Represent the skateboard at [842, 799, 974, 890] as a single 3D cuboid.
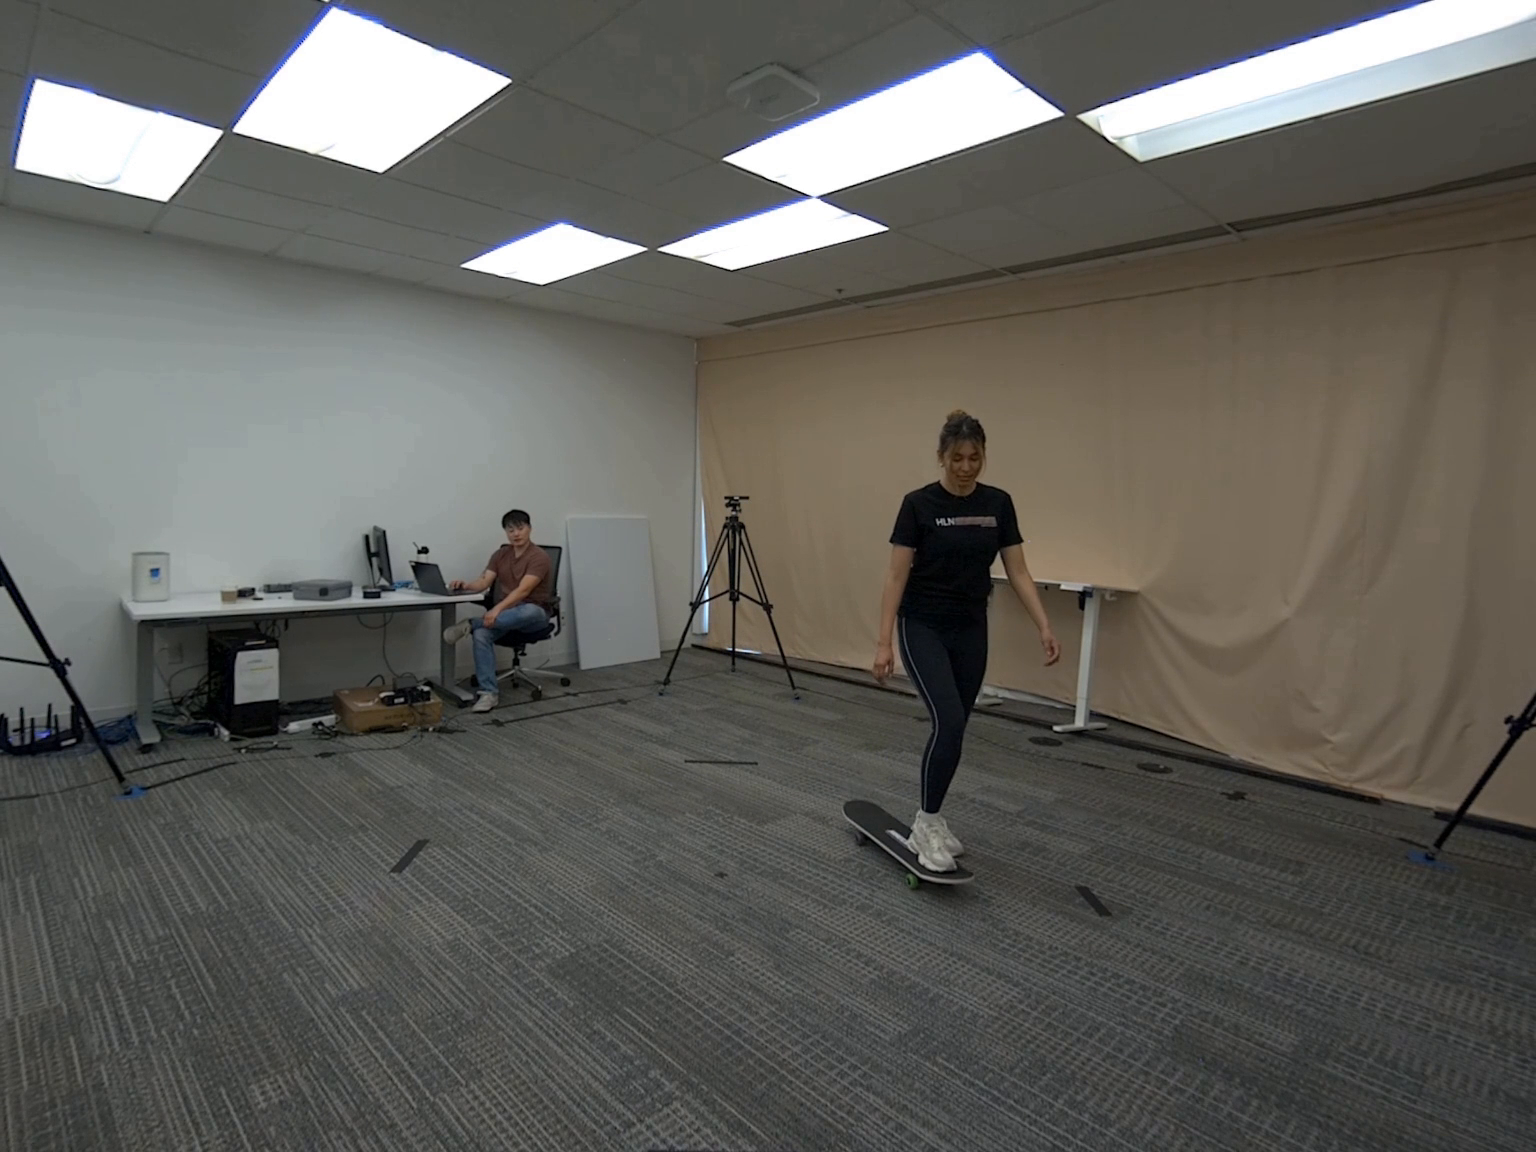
[{"bbox_3d":[0.505,1.052,3.256,0.190,0.110,0.800,0,5,-21],"label":"skateboard"}]
